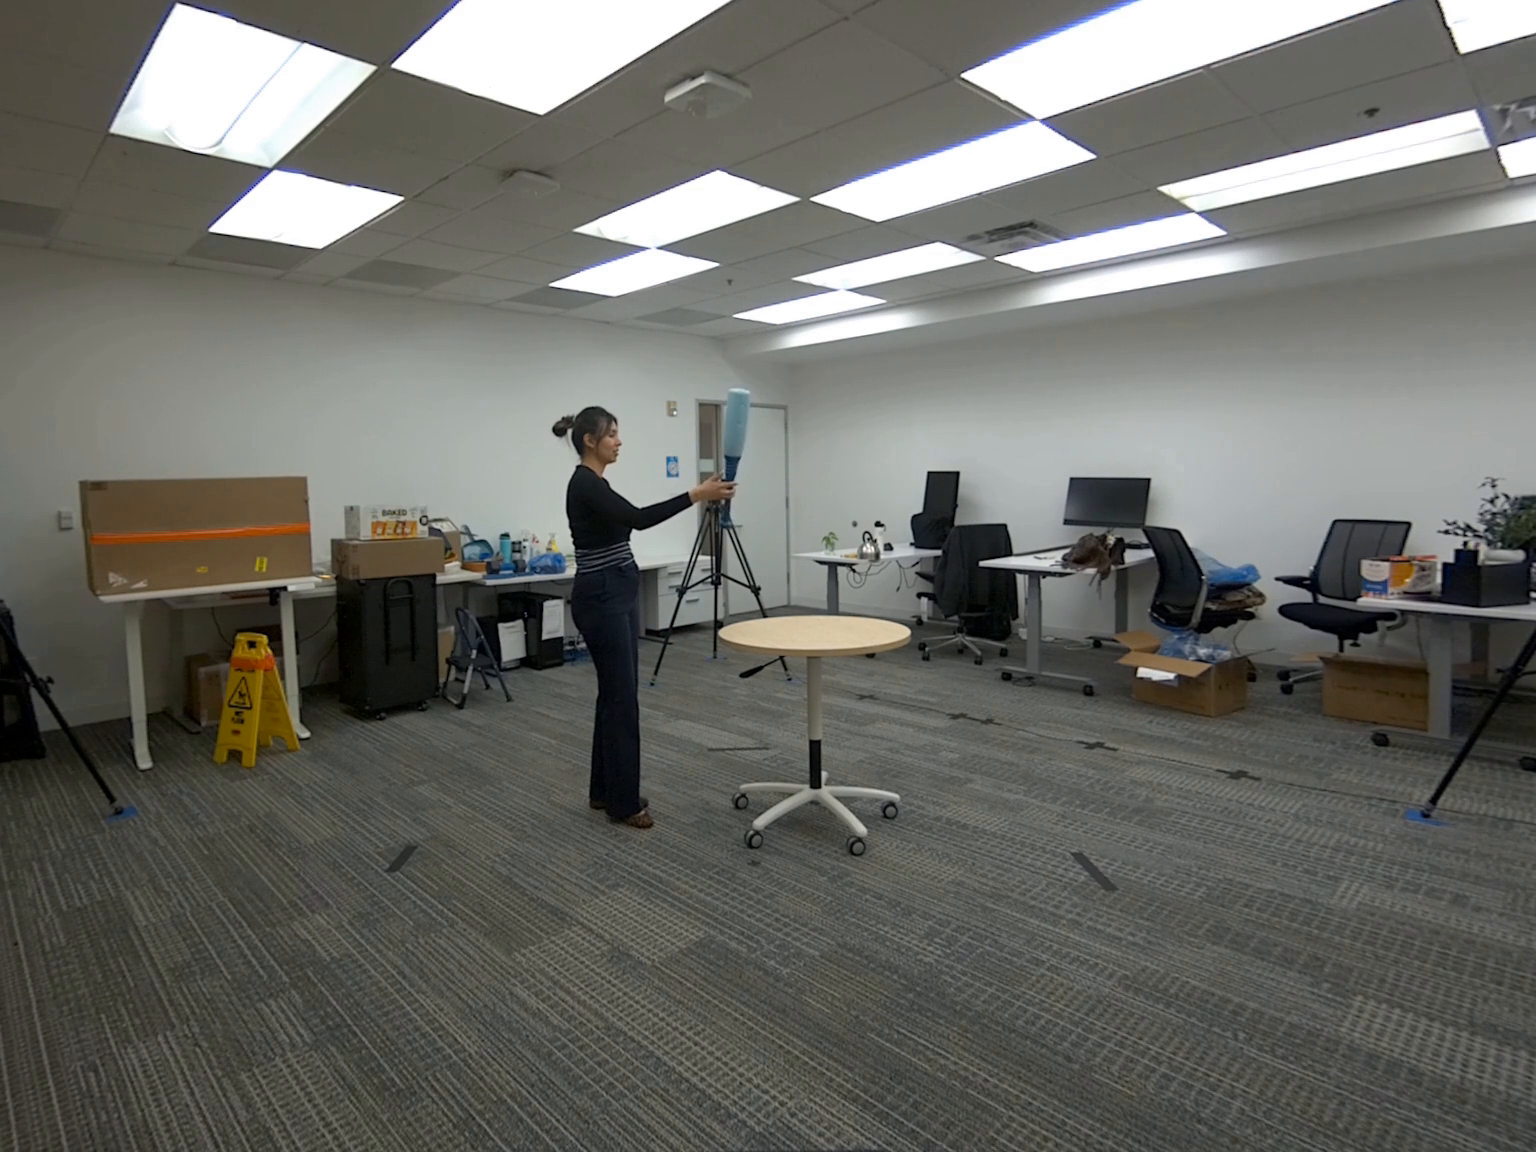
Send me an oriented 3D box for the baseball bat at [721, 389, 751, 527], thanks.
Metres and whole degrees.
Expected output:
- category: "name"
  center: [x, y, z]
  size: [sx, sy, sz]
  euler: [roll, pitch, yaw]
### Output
- category: "baseball bat"
  center: [-0.149, -0.439, 3.273]
  size: [0.089, 0.537, 0.090]
  euler: [8, 14, -4]
